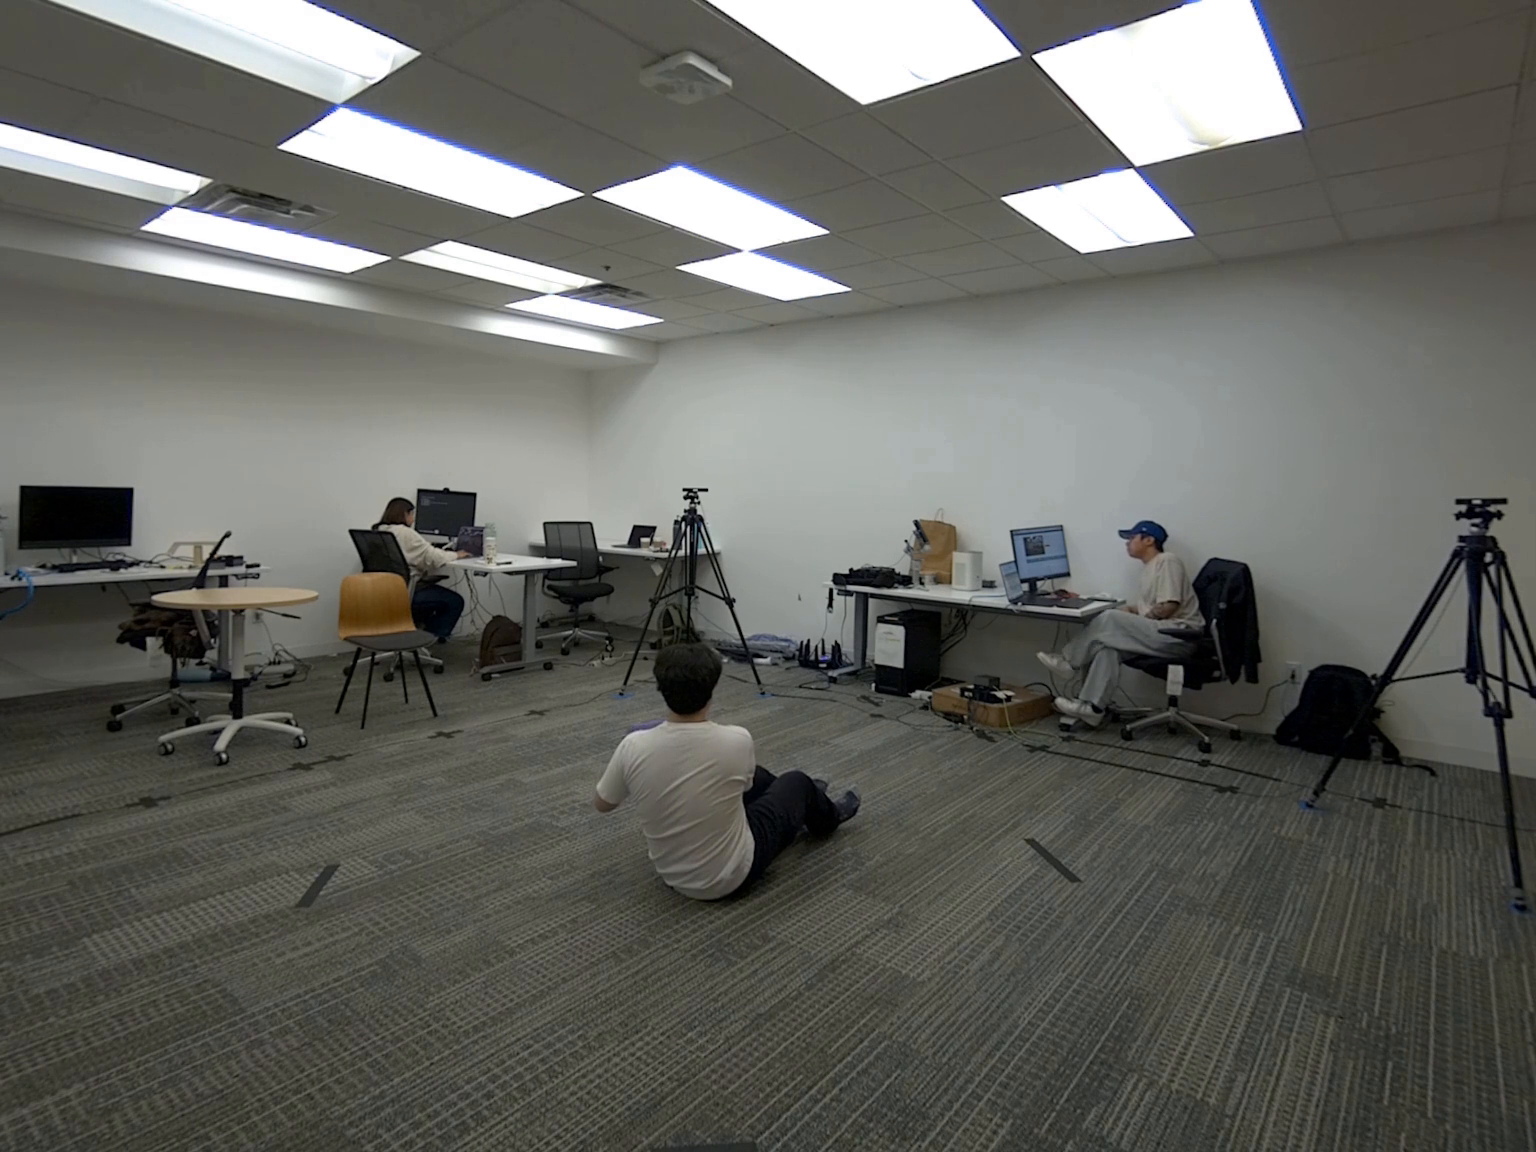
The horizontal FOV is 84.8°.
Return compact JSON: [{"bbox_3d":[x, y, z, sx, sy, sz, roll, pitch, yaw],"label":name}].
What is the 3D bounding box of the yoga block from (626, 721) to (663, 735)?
[{"bbox_3d":[-0.464,0.699,3.345,0.147,0.237,0.075,-9,-32,-14],"label":"yoga block"}]
